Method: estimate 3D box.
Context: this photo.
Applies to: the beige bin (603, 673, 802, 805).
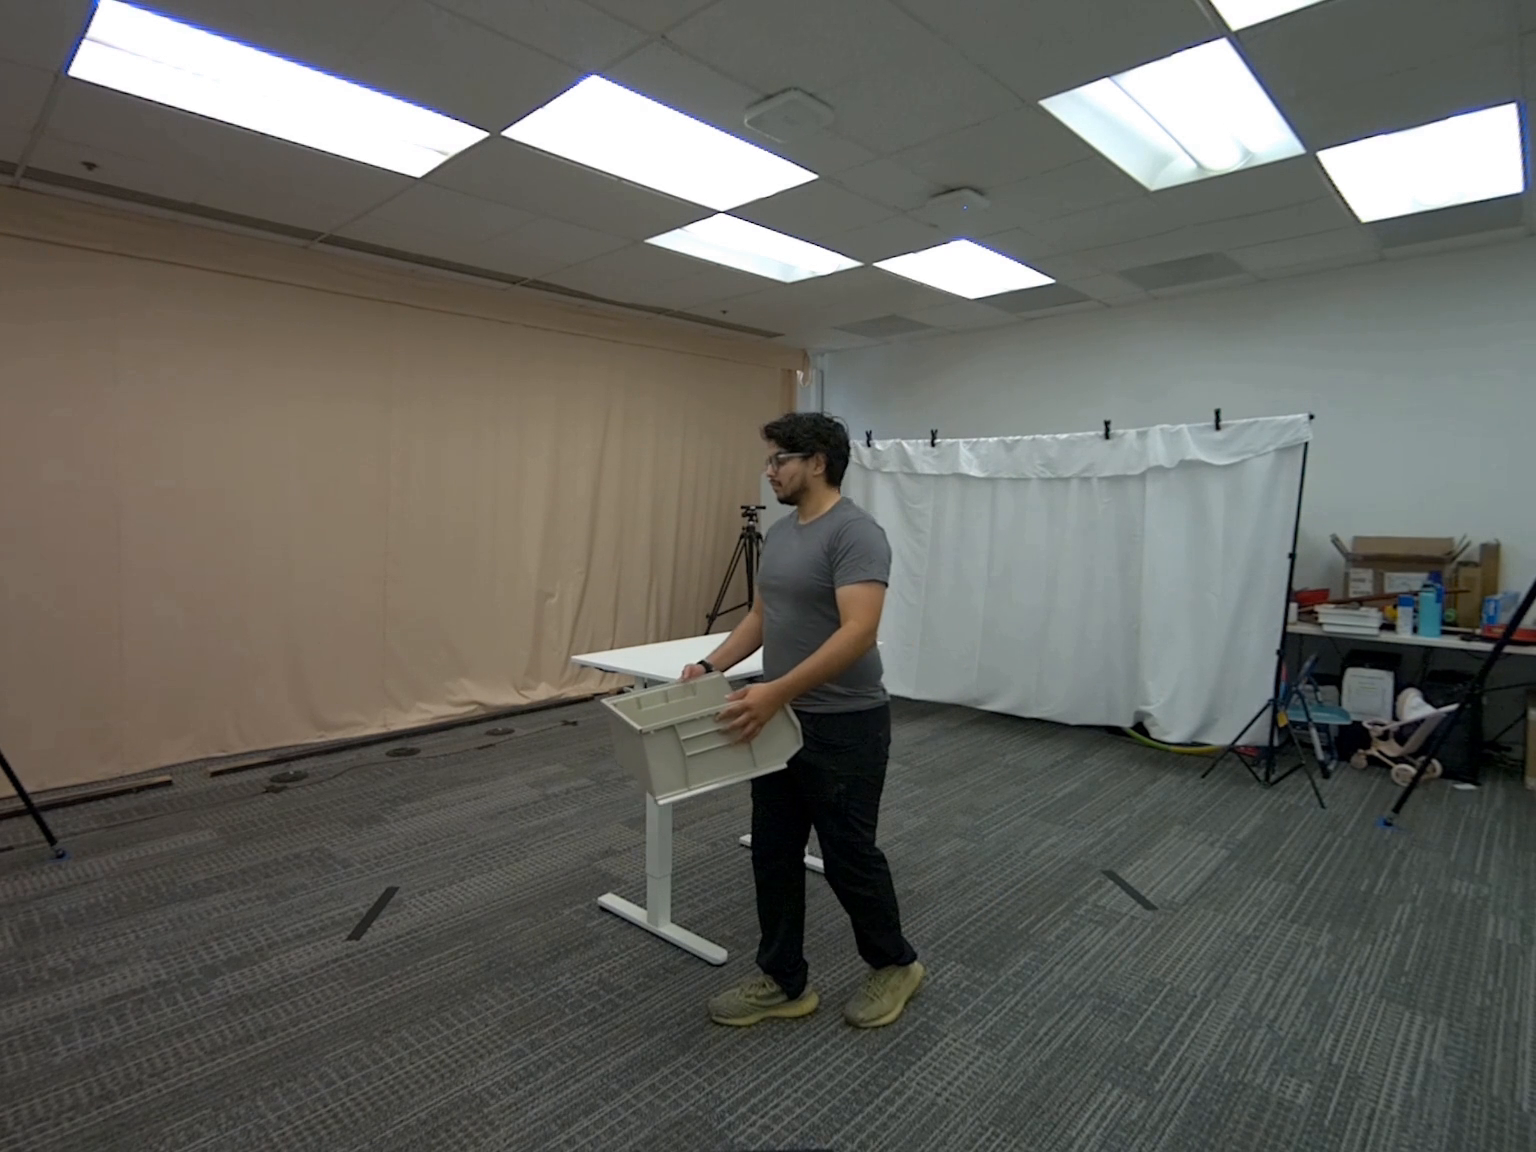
[{"bbox_3d":[-0.178,0.375,2.085,0.371,0.188,0.431,-13,5,-19],"label":"beige bin"}]
